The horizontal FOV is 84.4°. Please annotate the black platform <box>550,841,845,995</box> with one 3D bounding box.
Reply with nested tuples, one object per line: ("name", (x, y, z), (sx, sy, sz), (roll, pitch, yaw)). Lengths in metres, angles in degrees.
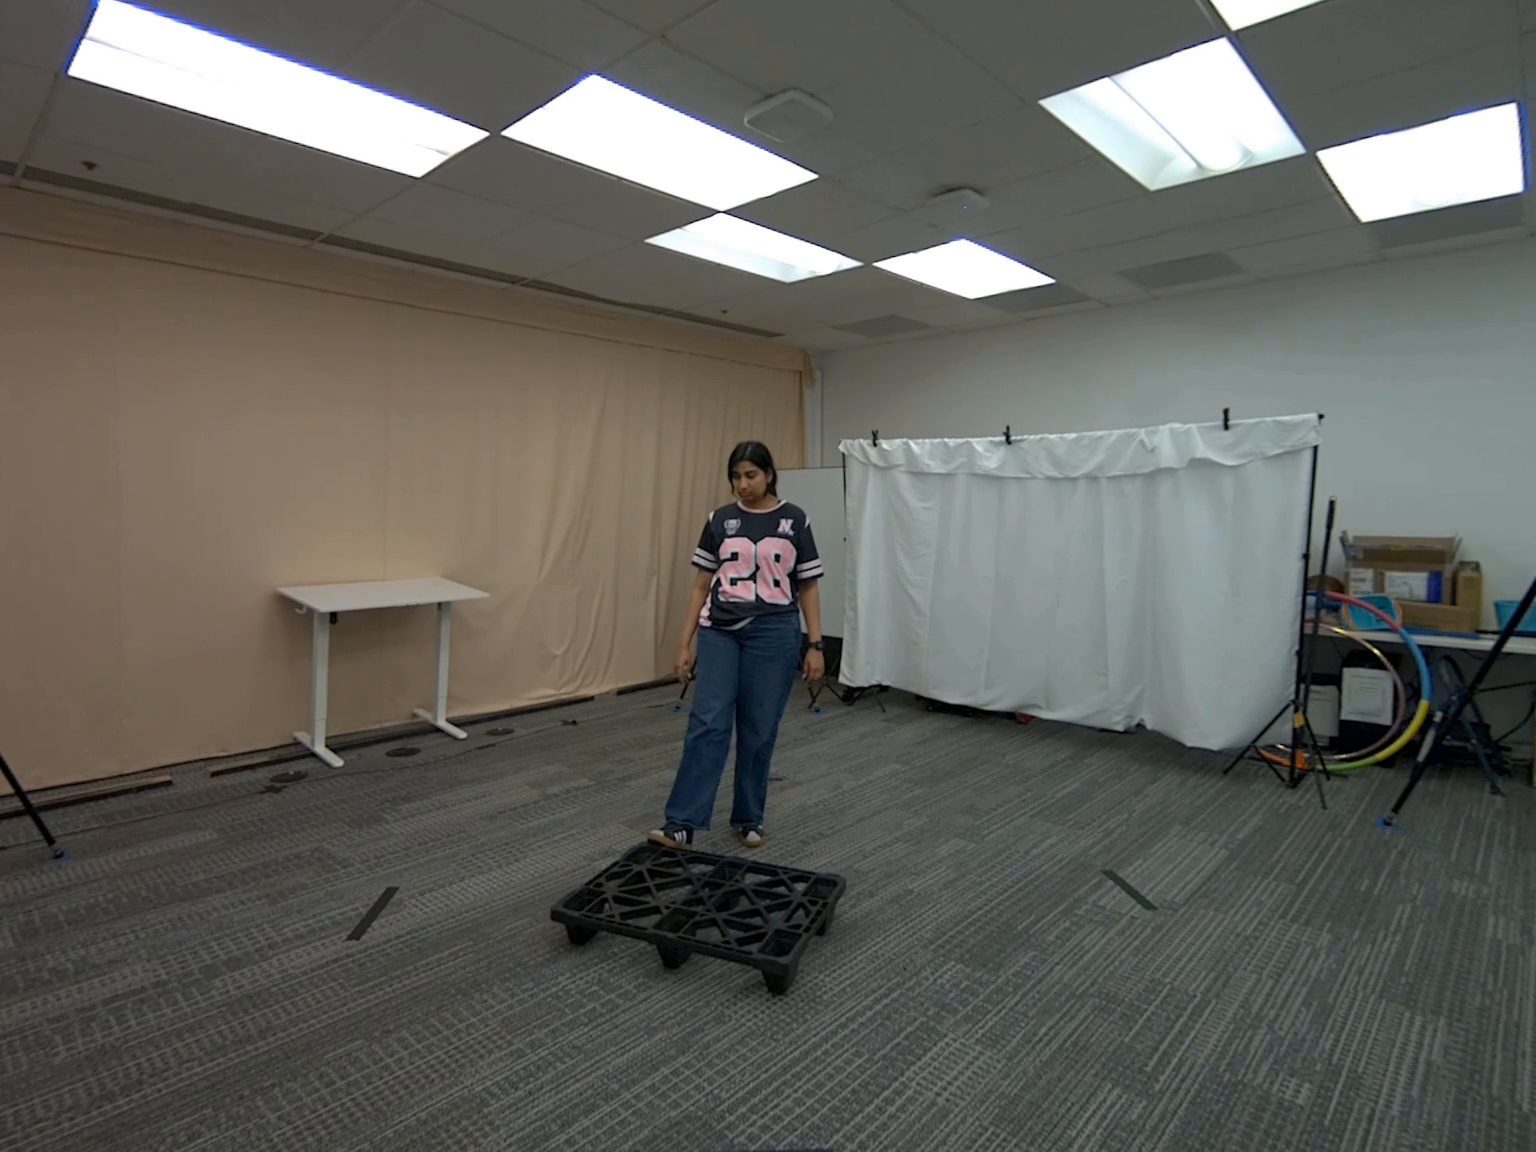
("black platform", (-0.209, 1.095, 2.749), (0.825, 0.143, 0.592), (2, 5, 23))
